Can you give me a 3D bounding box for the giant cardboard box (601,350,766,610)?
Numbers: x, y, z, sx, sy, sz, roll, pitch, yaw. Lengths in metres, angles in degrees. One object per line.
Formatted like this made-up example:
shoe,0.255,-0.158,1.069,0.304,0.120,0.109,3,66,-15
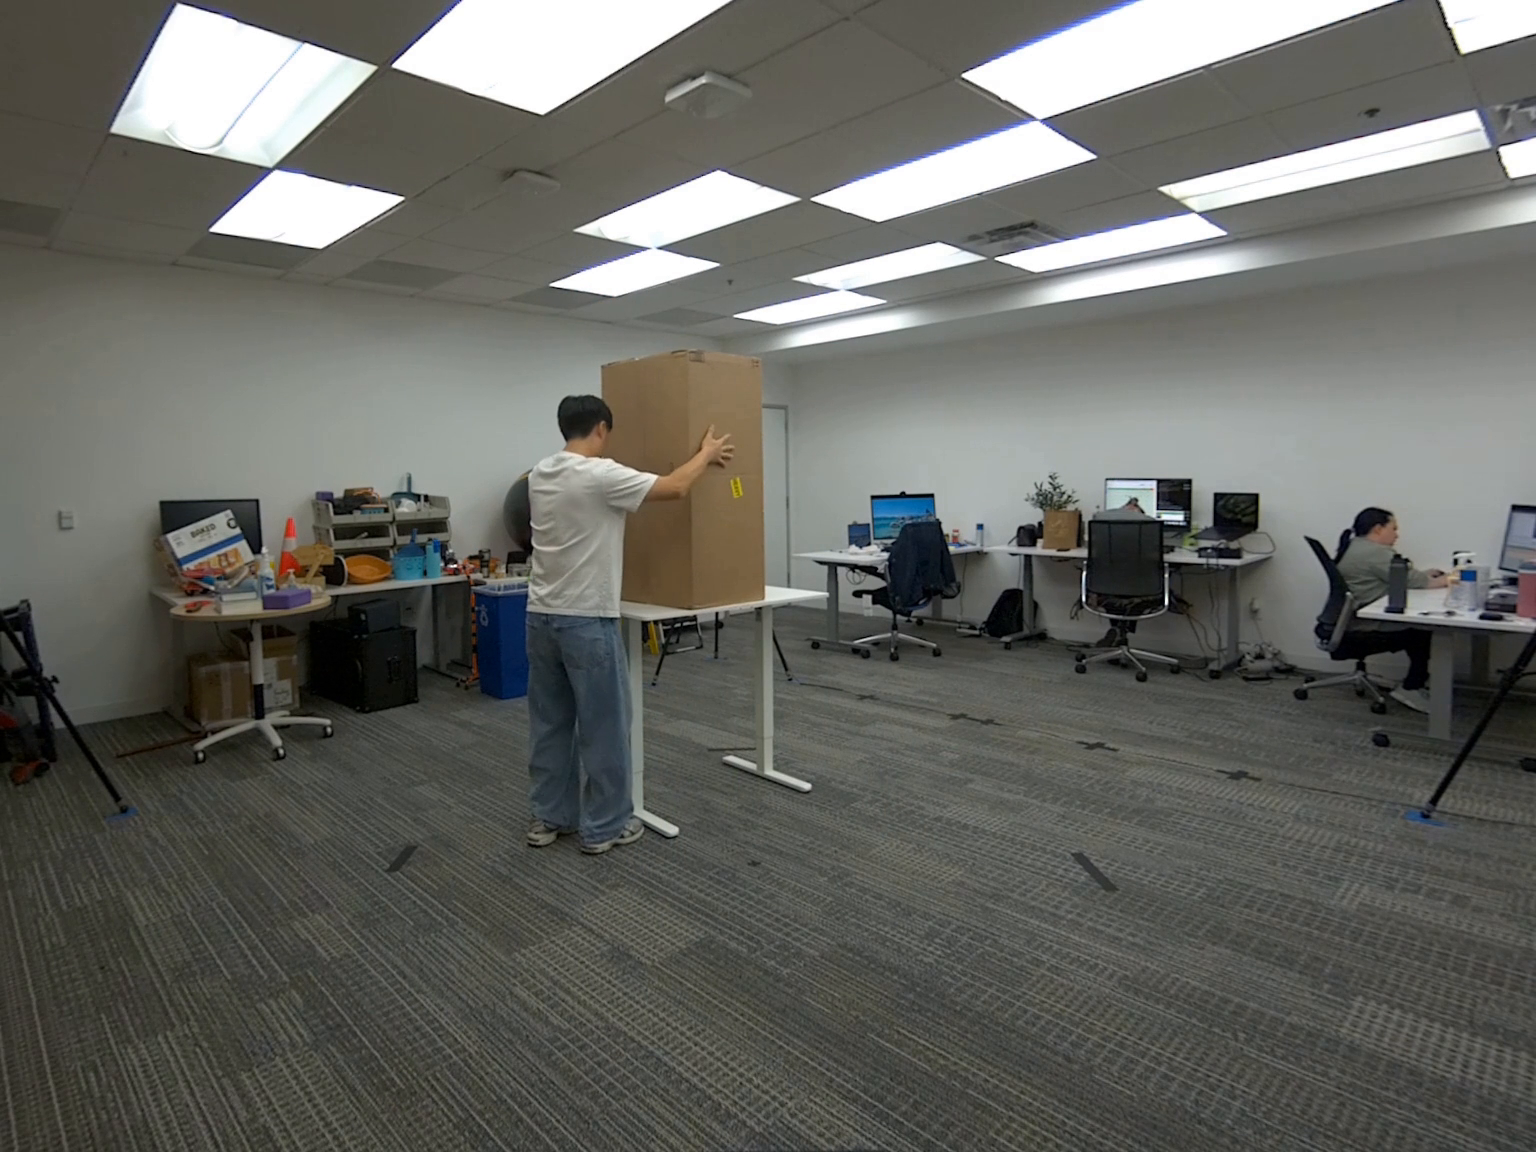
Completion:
giant cardboard box,-0.370,-0.403,3.687,0.414,1.023,0.595,-4,4,-45
